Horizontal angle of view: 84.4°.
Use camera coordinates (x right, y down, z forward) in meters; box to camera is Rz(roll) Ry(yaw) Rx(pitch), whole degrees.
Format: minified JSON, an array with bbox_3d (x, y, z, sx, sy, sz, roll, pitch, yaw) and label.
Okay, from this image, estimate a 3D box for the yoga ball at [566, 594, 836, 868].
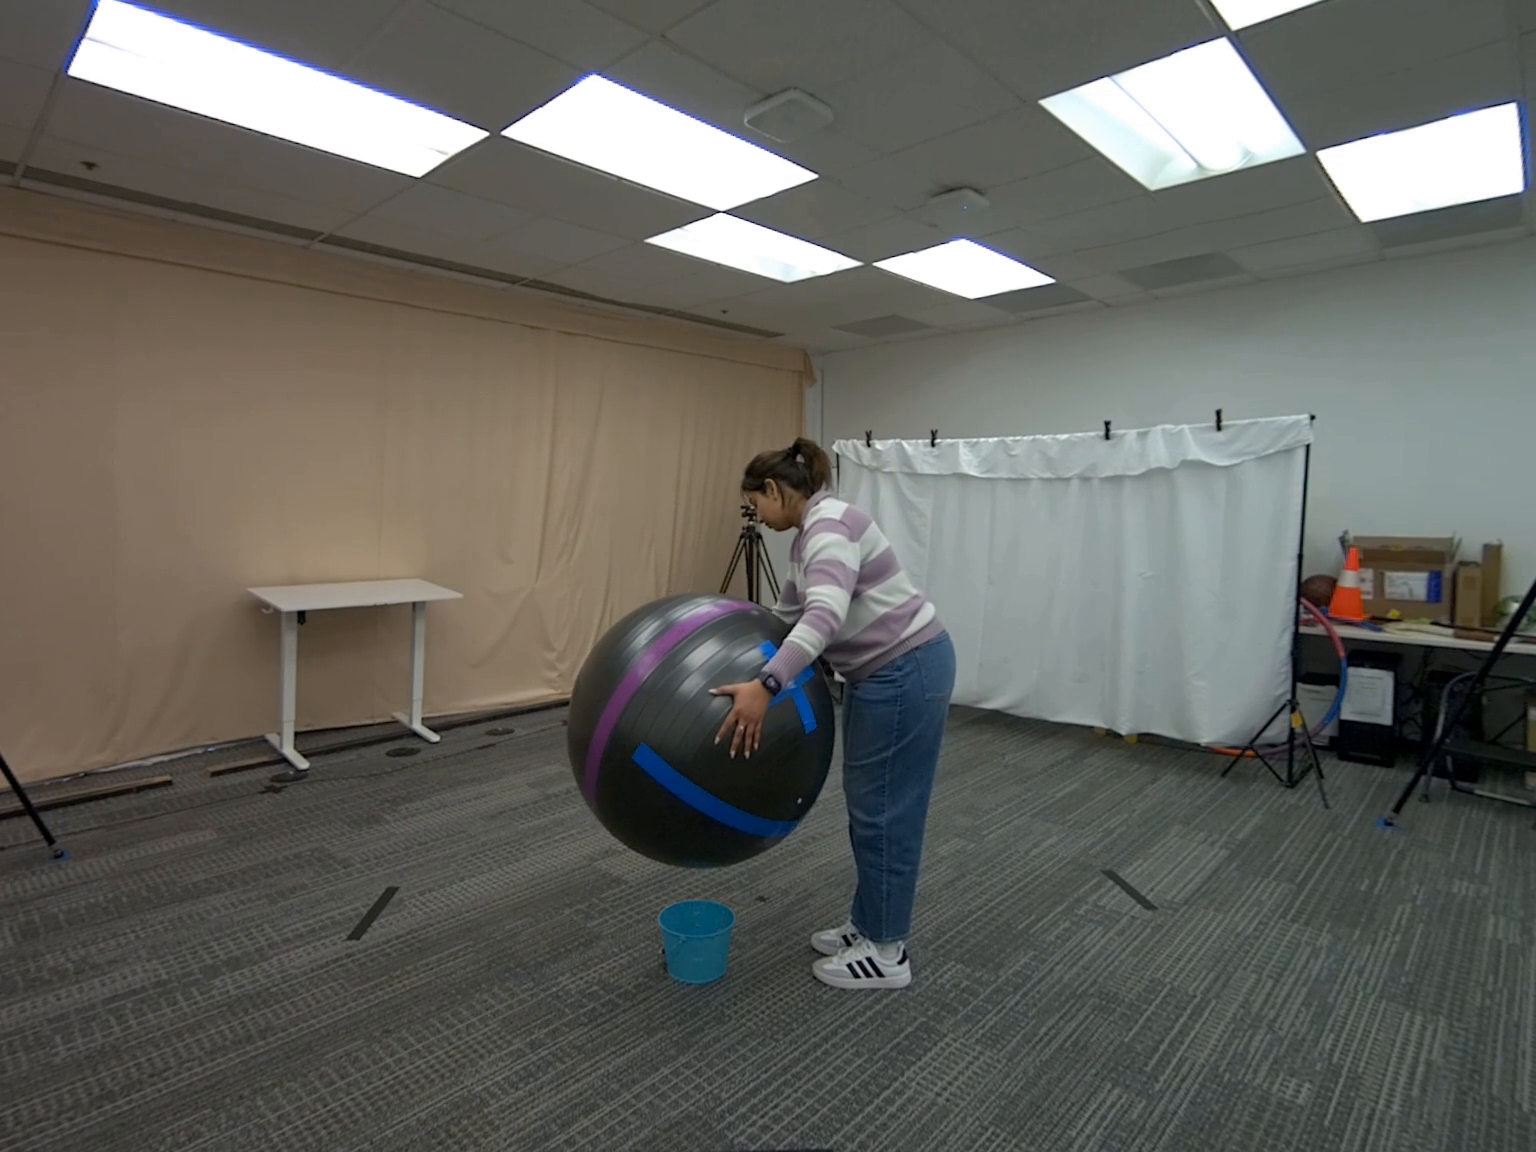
[{"bbox_3d":[-0.187,0.431,2.389,0.757,0.756,0.761,0,4,-2],"label":"yoga ball"}]
